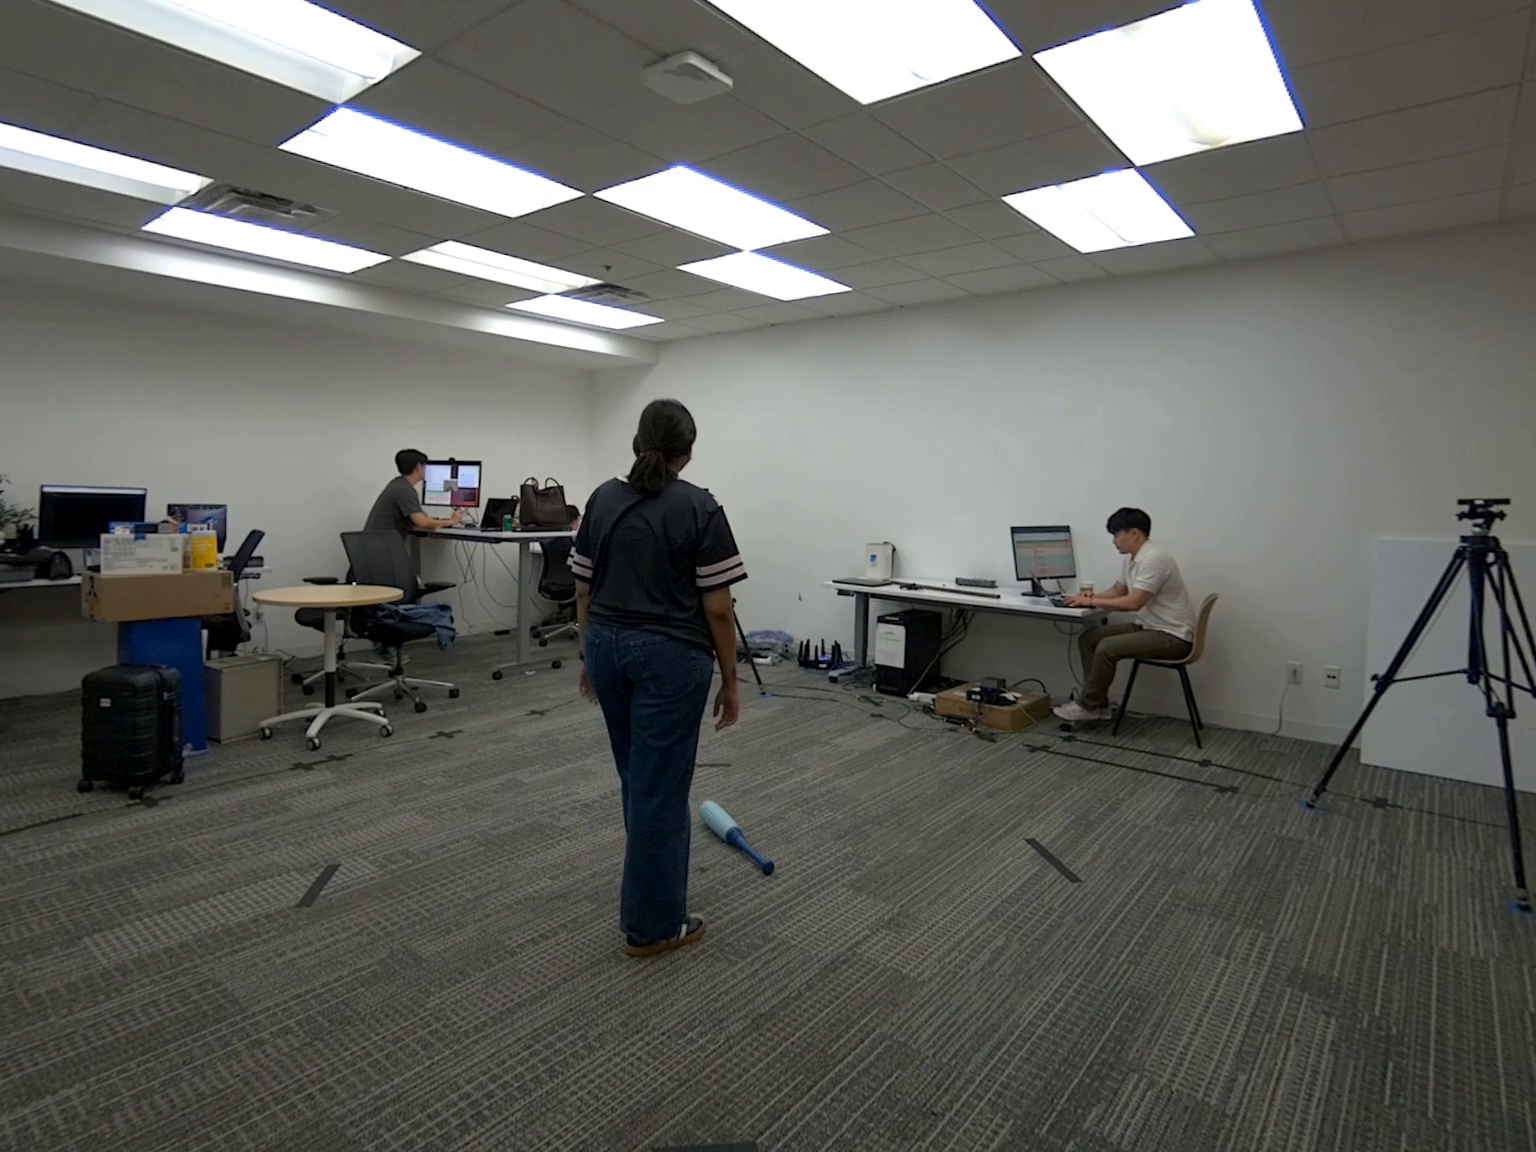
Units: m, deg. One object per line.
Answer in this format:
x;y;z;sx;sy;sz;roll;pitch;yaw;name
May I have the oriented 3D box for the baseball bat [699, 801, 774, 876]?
-0.121;1.014;3.323;0.087;0.088;0.560;-1;10;-28;baseball bat
